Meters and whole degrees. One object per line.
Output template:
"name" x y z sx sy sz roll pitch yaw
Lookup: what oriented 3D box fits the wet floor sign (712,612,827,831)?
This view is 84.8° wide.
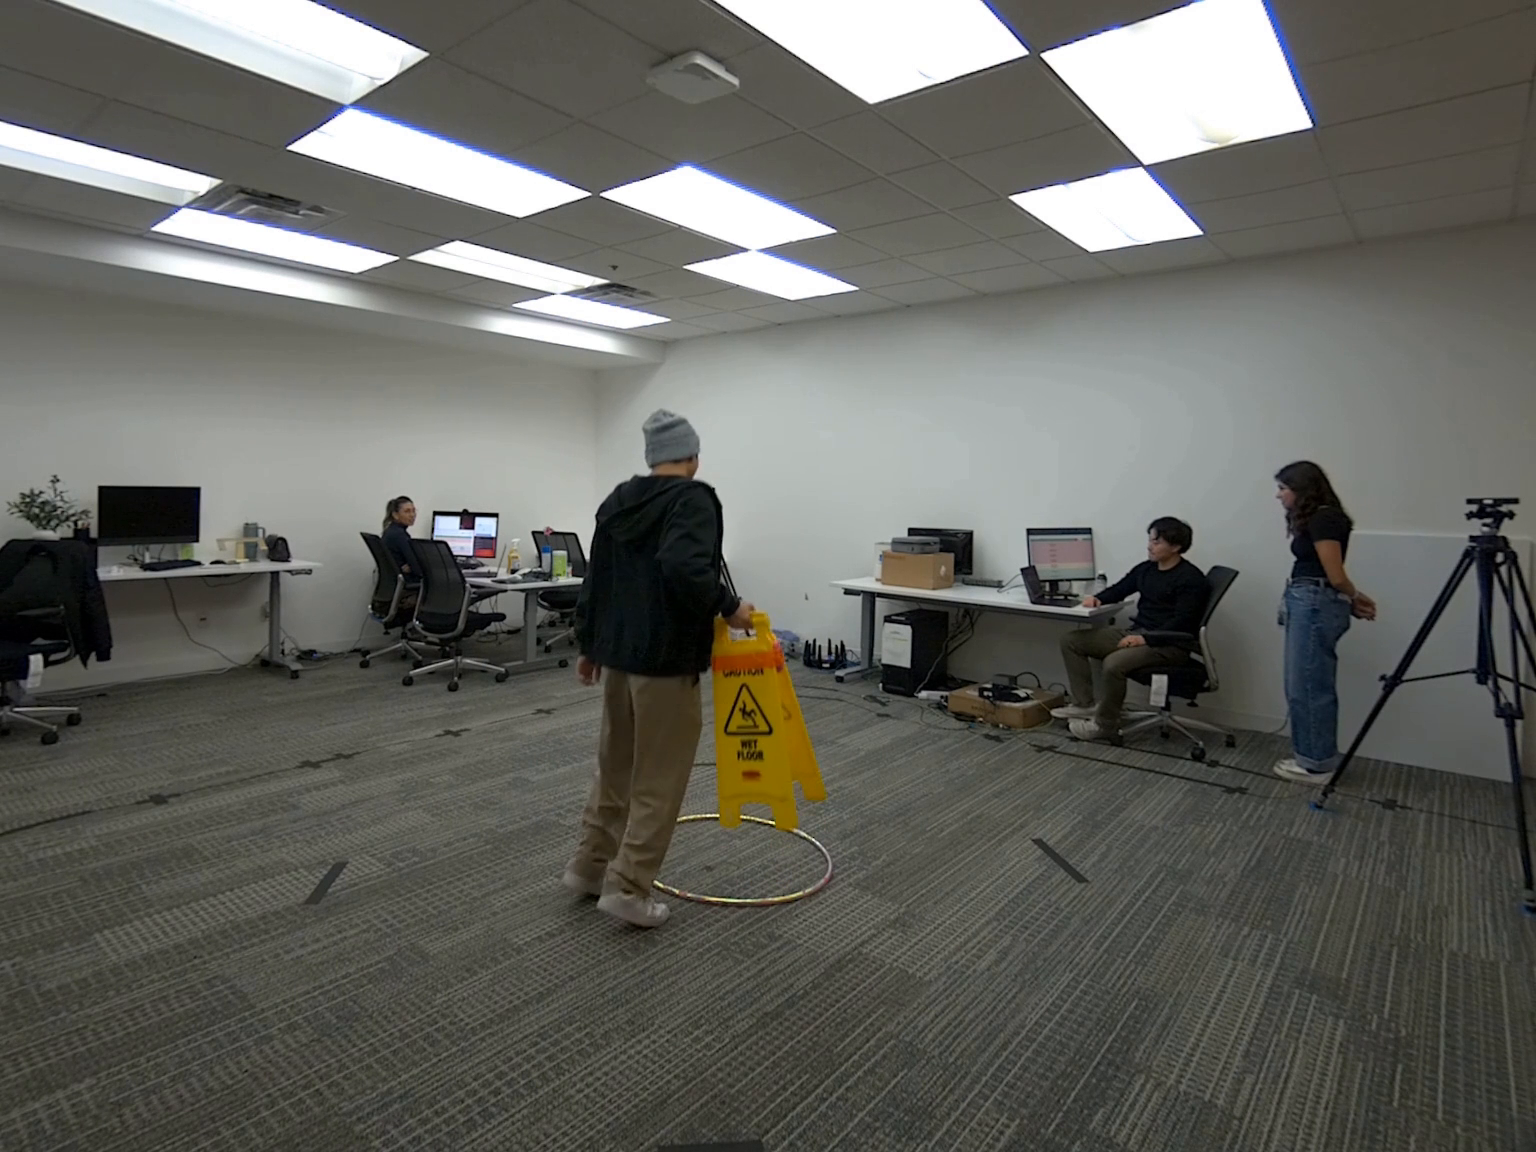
"wet floor sign" -0.041 0.449 2.722 0.289 0.645 0.283 -9 2 28
